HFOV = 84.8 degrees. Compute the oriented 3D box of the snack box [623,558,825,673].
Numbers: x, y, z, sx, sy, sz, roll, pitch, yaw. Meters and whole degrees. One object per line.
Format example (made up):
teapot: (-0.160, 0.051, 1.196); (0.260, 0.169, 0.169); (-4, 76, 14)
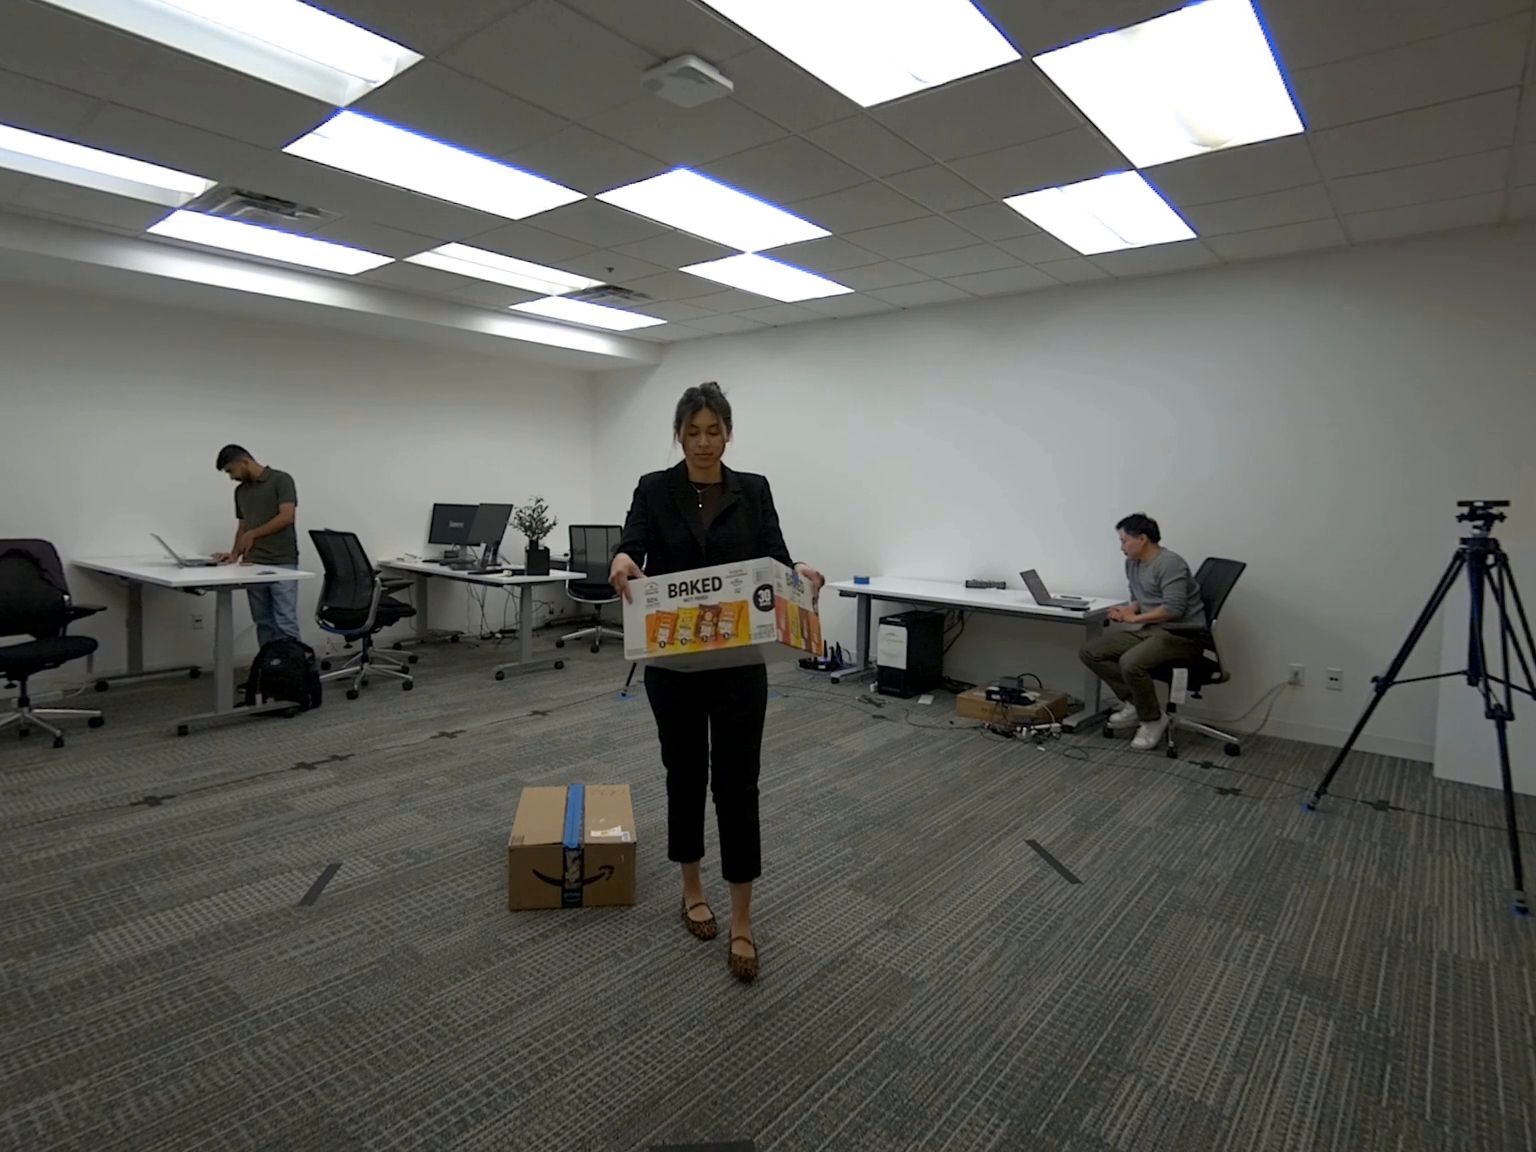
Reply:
snack box: (-0.120, 0.110, 2.199); (0.413, 0.209, 0.329); (-9, -15, 22)
